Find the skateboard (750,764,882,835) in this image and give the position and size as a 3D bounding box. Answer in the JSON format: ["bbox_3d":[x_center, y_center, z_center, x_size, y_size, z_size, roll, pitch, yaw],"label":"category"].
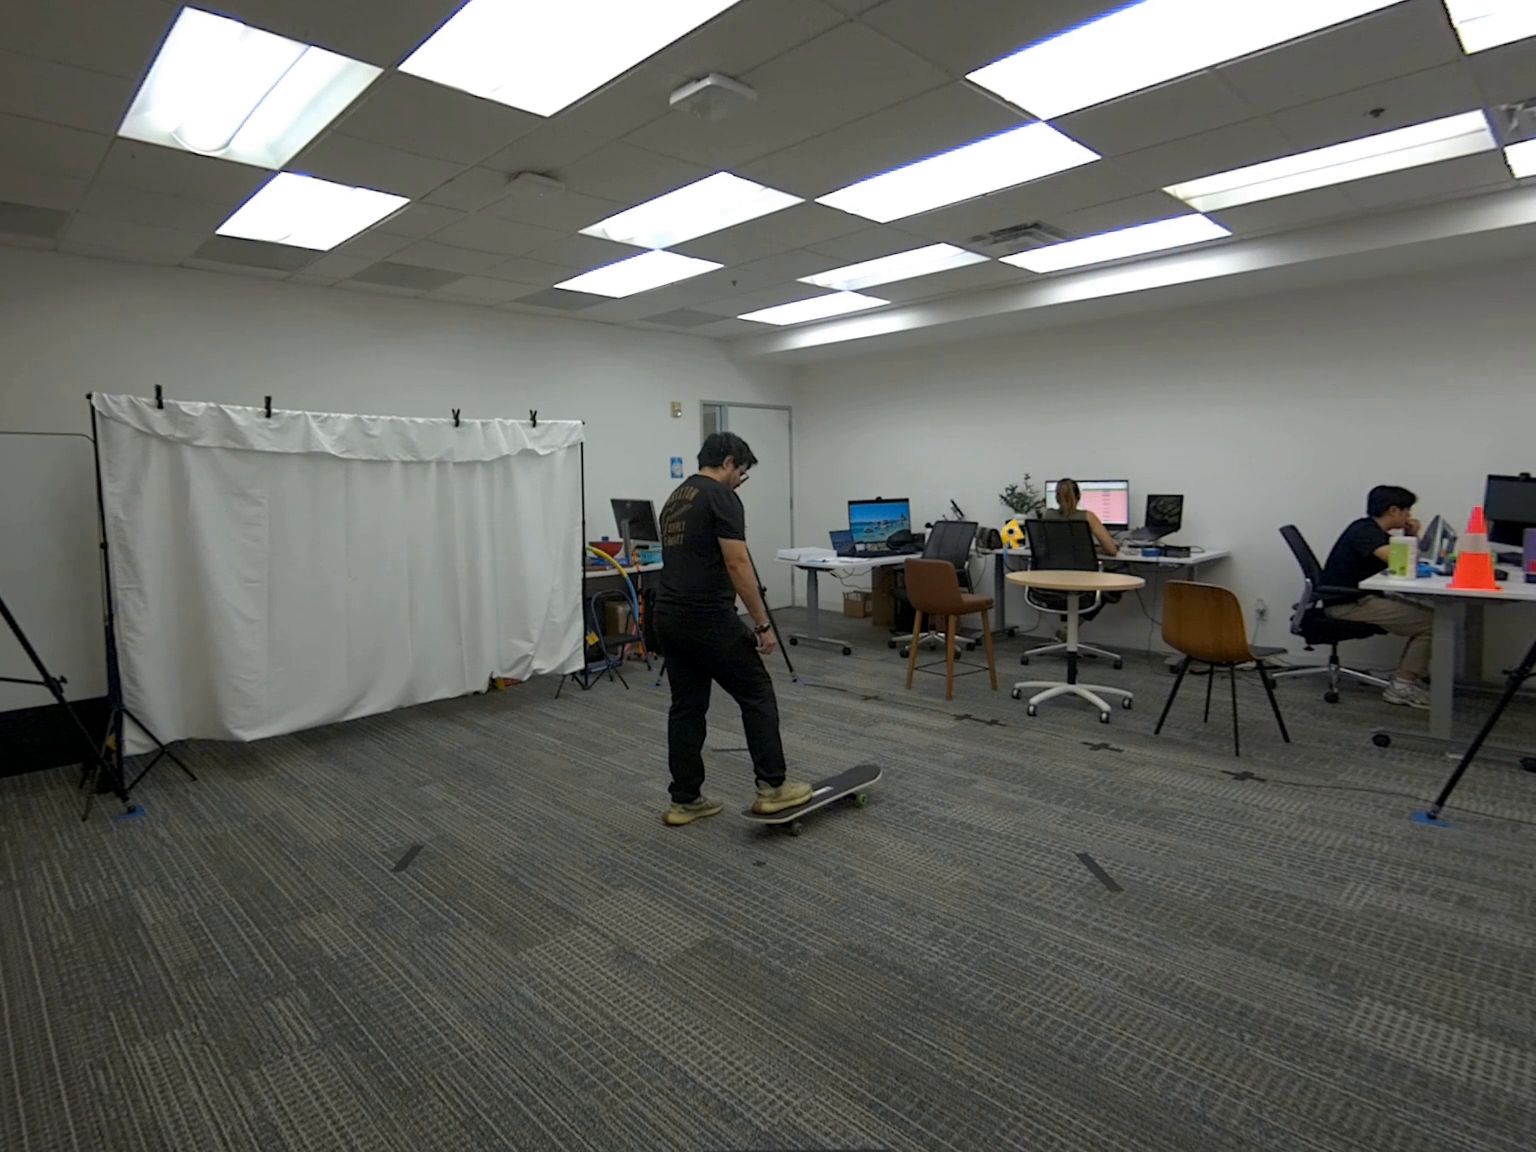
[{"bbox_3d":[0.196,0.934,3.548,0.765,0.110,0.199,-9,5,-43],"label":"skateboard"}]
